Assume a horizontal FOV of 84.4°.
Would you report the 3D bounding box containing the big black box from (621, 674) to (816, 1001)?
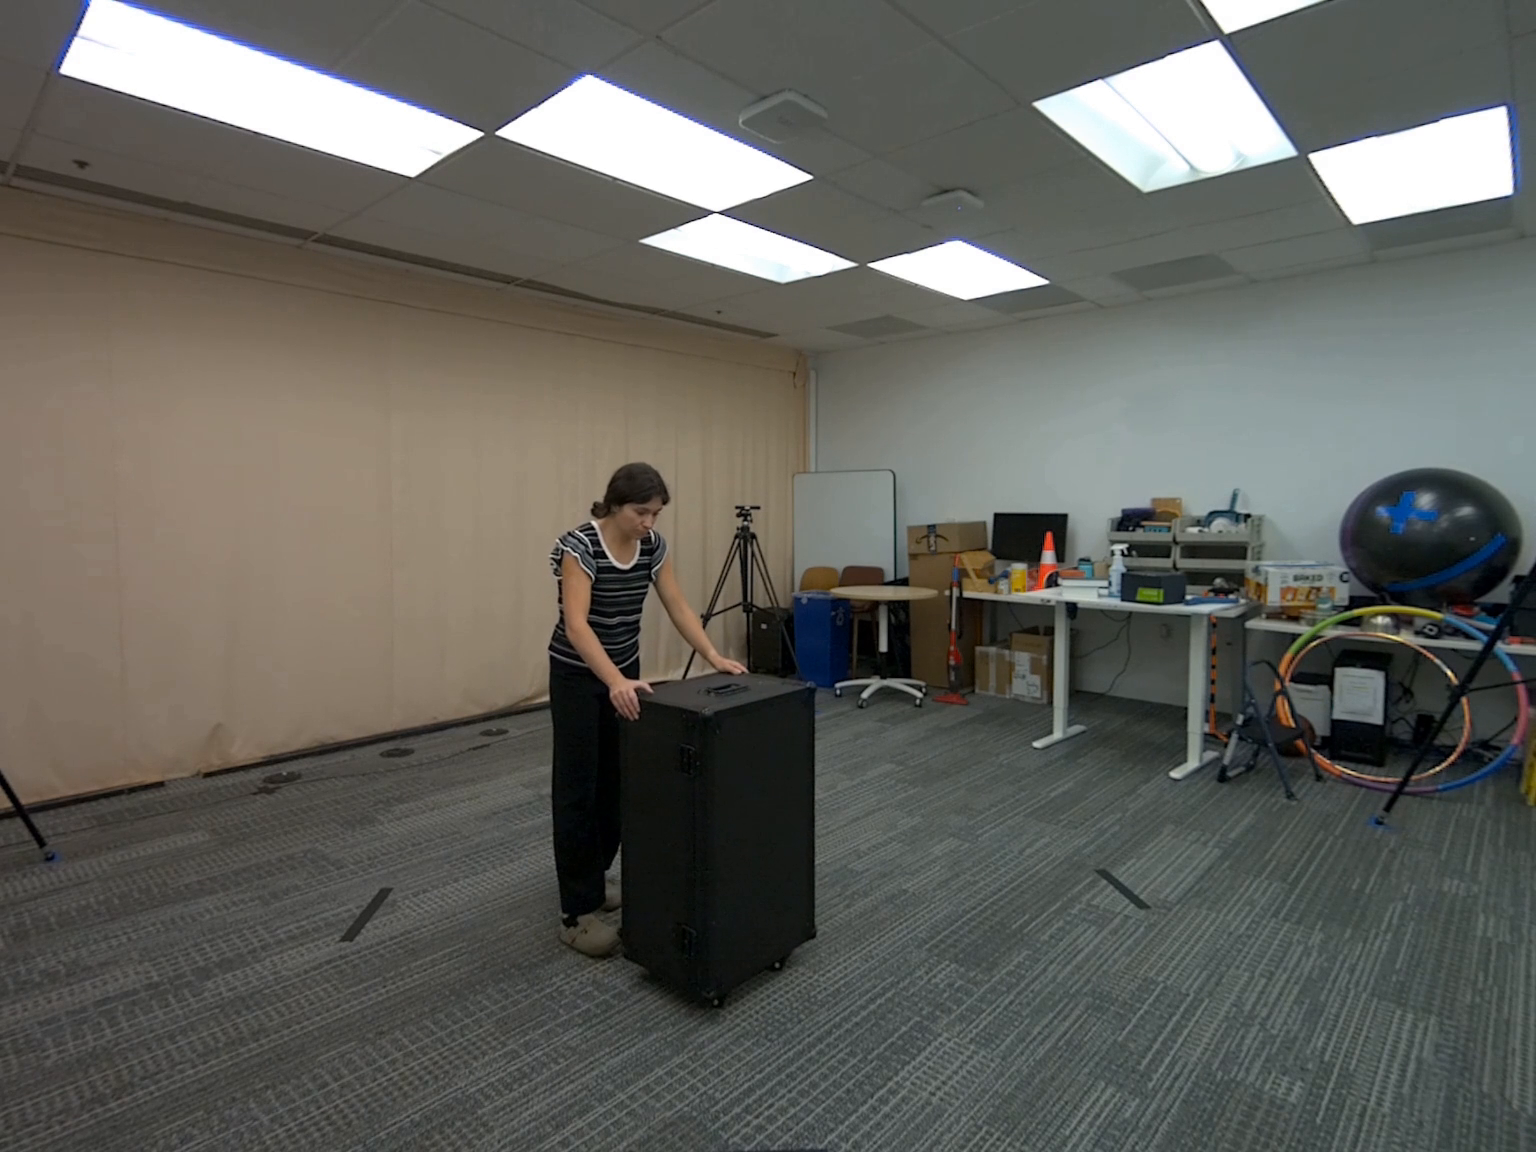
[{"bbox_3d":[-0.148,0.758,2.511,0.409,0.860,0.505,2,4,41],"label":"big black box"}]
